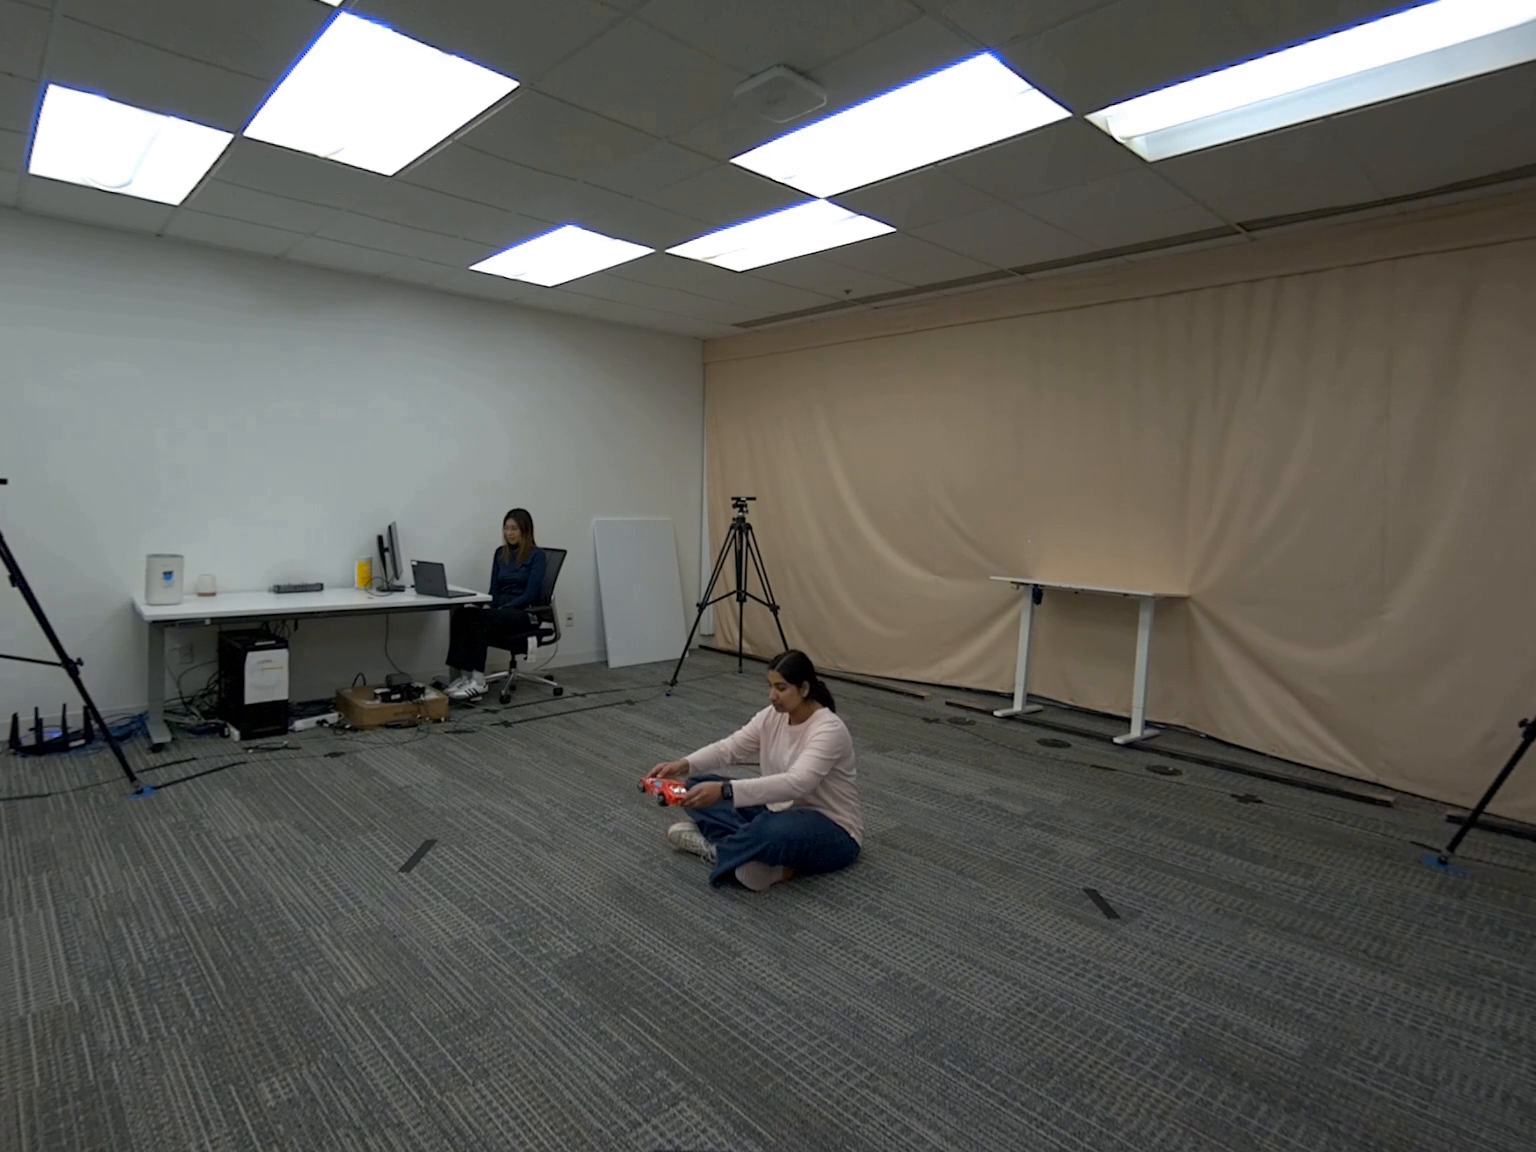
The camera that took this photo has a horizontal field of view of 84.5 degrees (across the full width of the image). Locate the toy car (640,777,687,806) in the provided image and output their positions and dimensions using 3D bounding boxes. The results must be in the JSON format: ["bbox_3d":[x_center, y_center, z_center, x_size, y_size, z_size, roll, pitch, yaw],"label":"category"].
[{"bbox_3d":[-0.365,0.770,2.986,0.127,0.084,0.259,14,-12,-36],"label":"toy car"}]
